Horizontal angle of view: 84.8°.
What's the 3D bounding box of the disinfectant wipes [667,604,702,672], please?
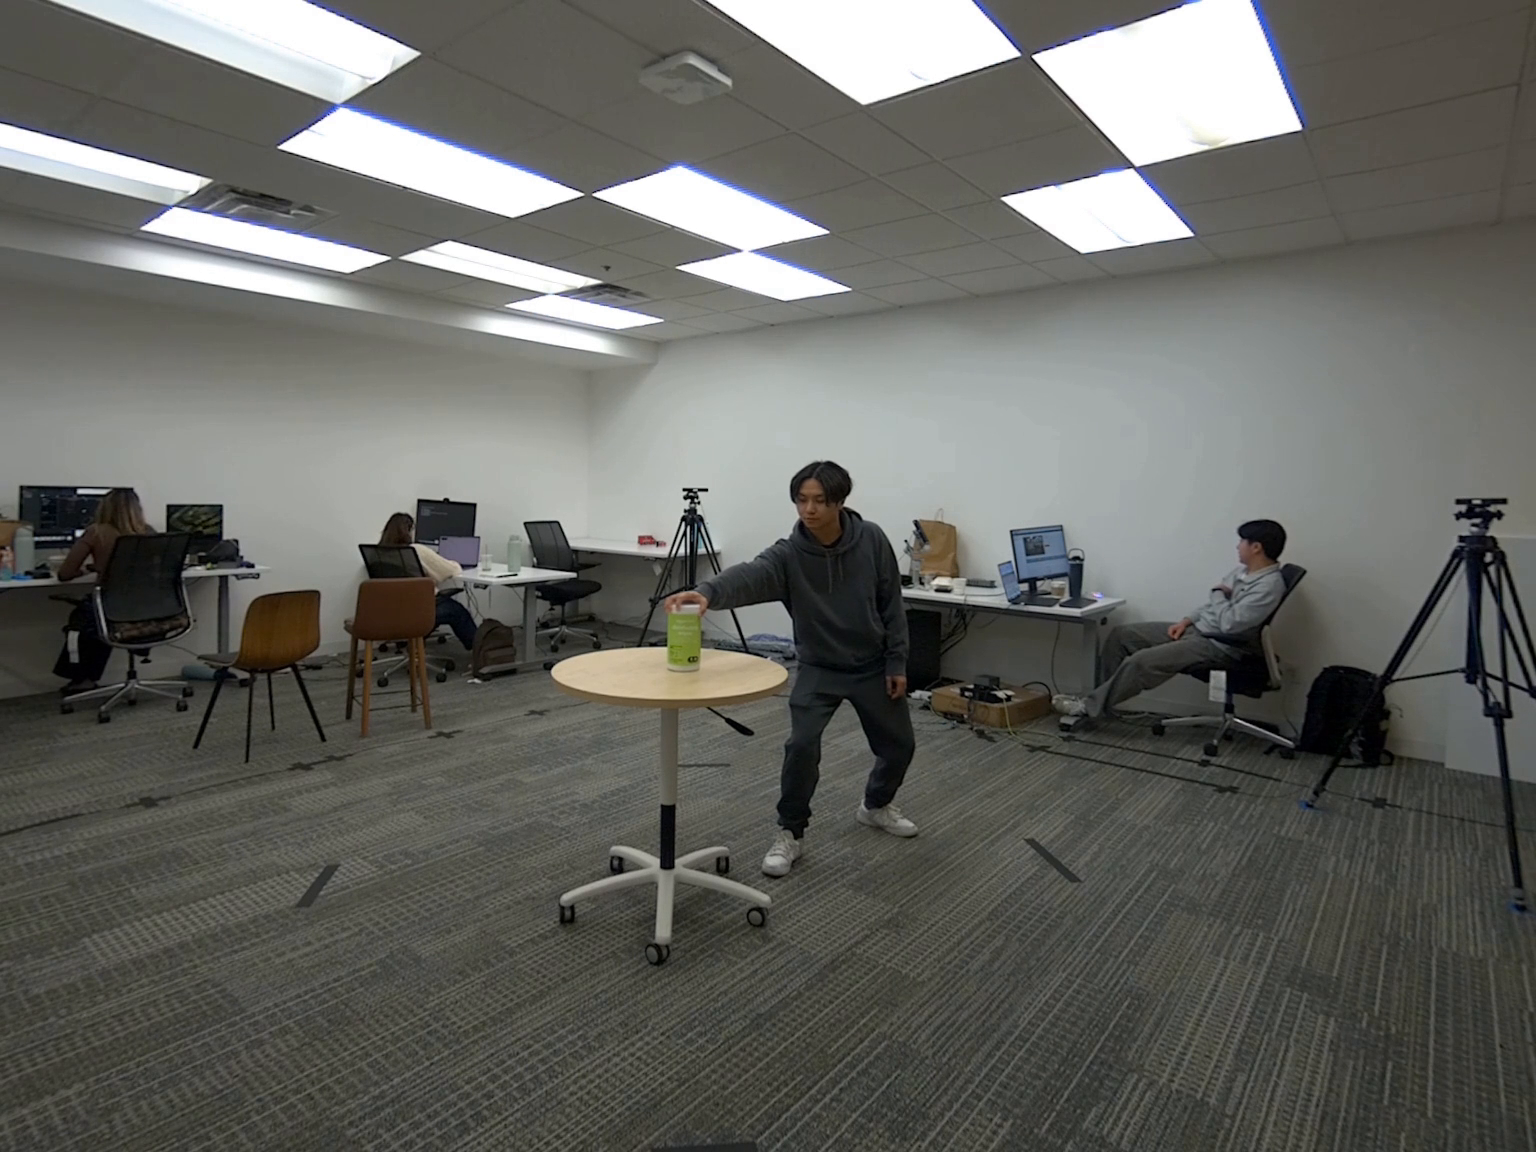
[{"bbox_3d":[-0.287,0.197,2.787,0.118,0.217,0.118,1,3,-2],"label":"disinfectant wipes"}]
